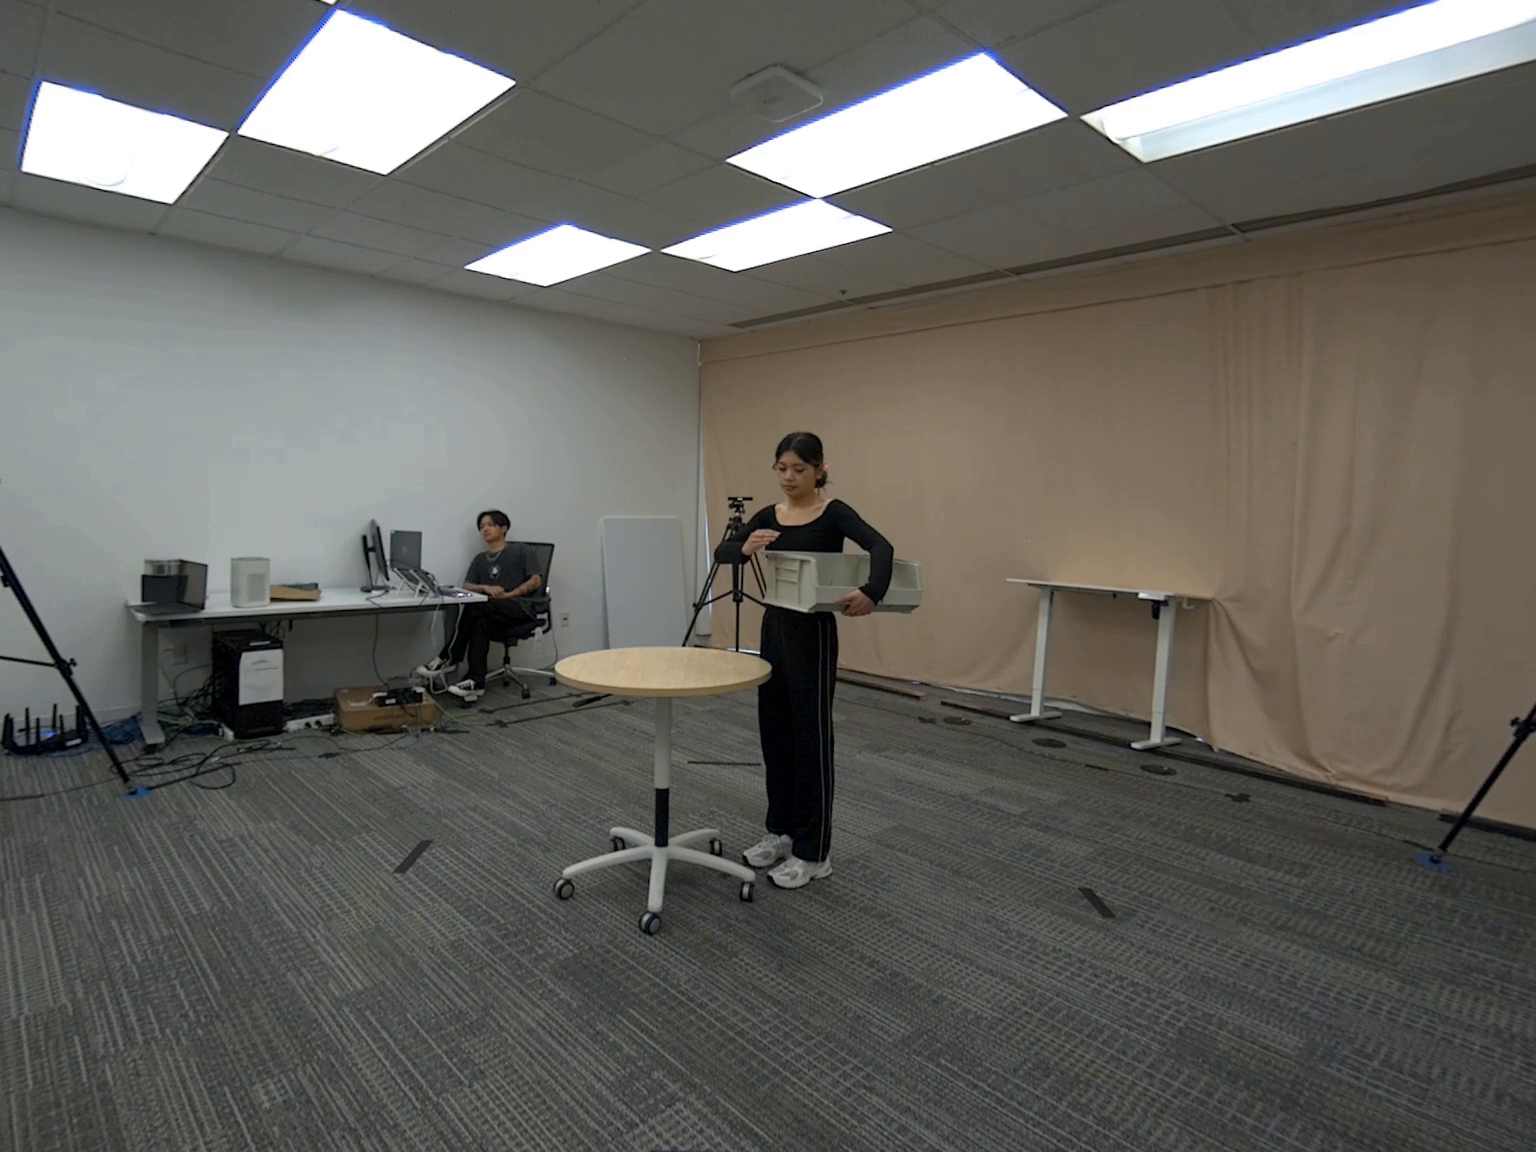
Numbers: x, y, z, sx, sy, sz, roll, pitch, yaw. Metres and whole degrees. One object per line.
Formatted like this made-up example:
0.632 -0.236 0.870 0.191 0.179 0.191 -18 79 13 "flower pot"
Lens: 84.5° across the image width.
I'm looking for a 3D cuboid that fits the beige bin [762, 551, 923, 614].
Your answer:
0.246 0.029 2.864 0.415 0.189 0.385 2 3 -24 "beige bin"
